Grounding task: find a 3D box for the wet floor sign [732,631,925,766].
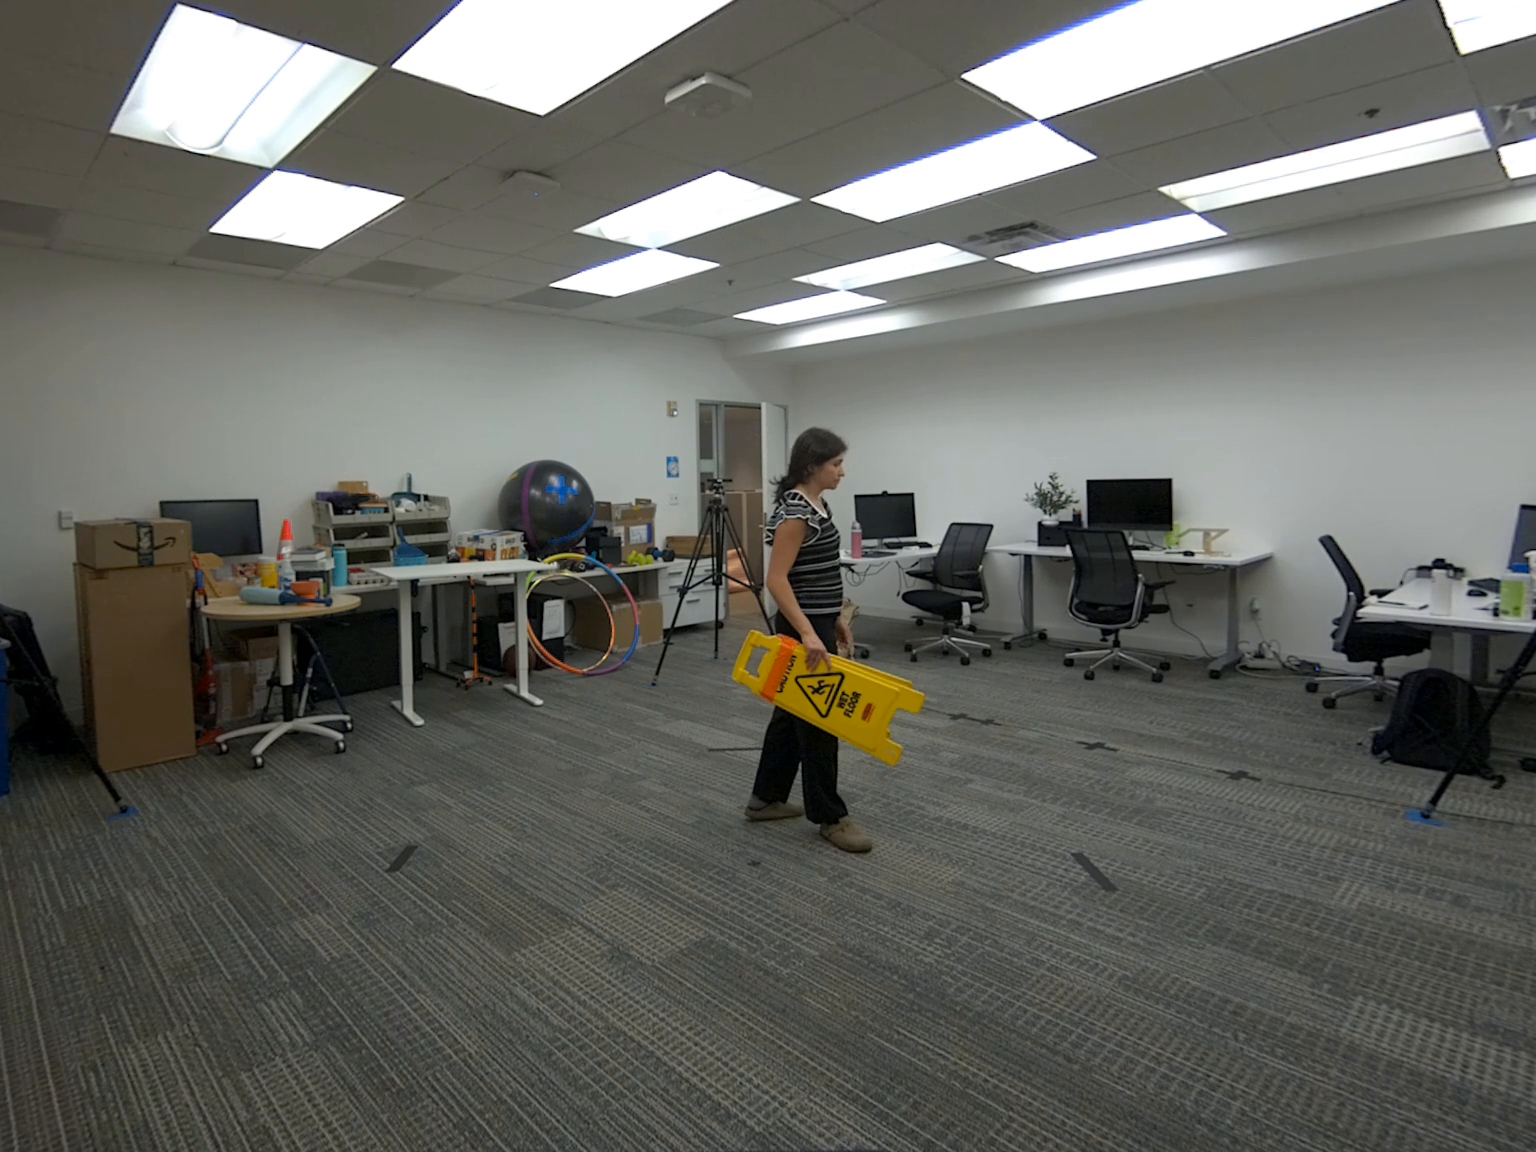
[{"bbox_3d":[0.198,0.414,3.124,0.647,0.282,0.290,23,4,0],"label":"wet floor sign"}]
